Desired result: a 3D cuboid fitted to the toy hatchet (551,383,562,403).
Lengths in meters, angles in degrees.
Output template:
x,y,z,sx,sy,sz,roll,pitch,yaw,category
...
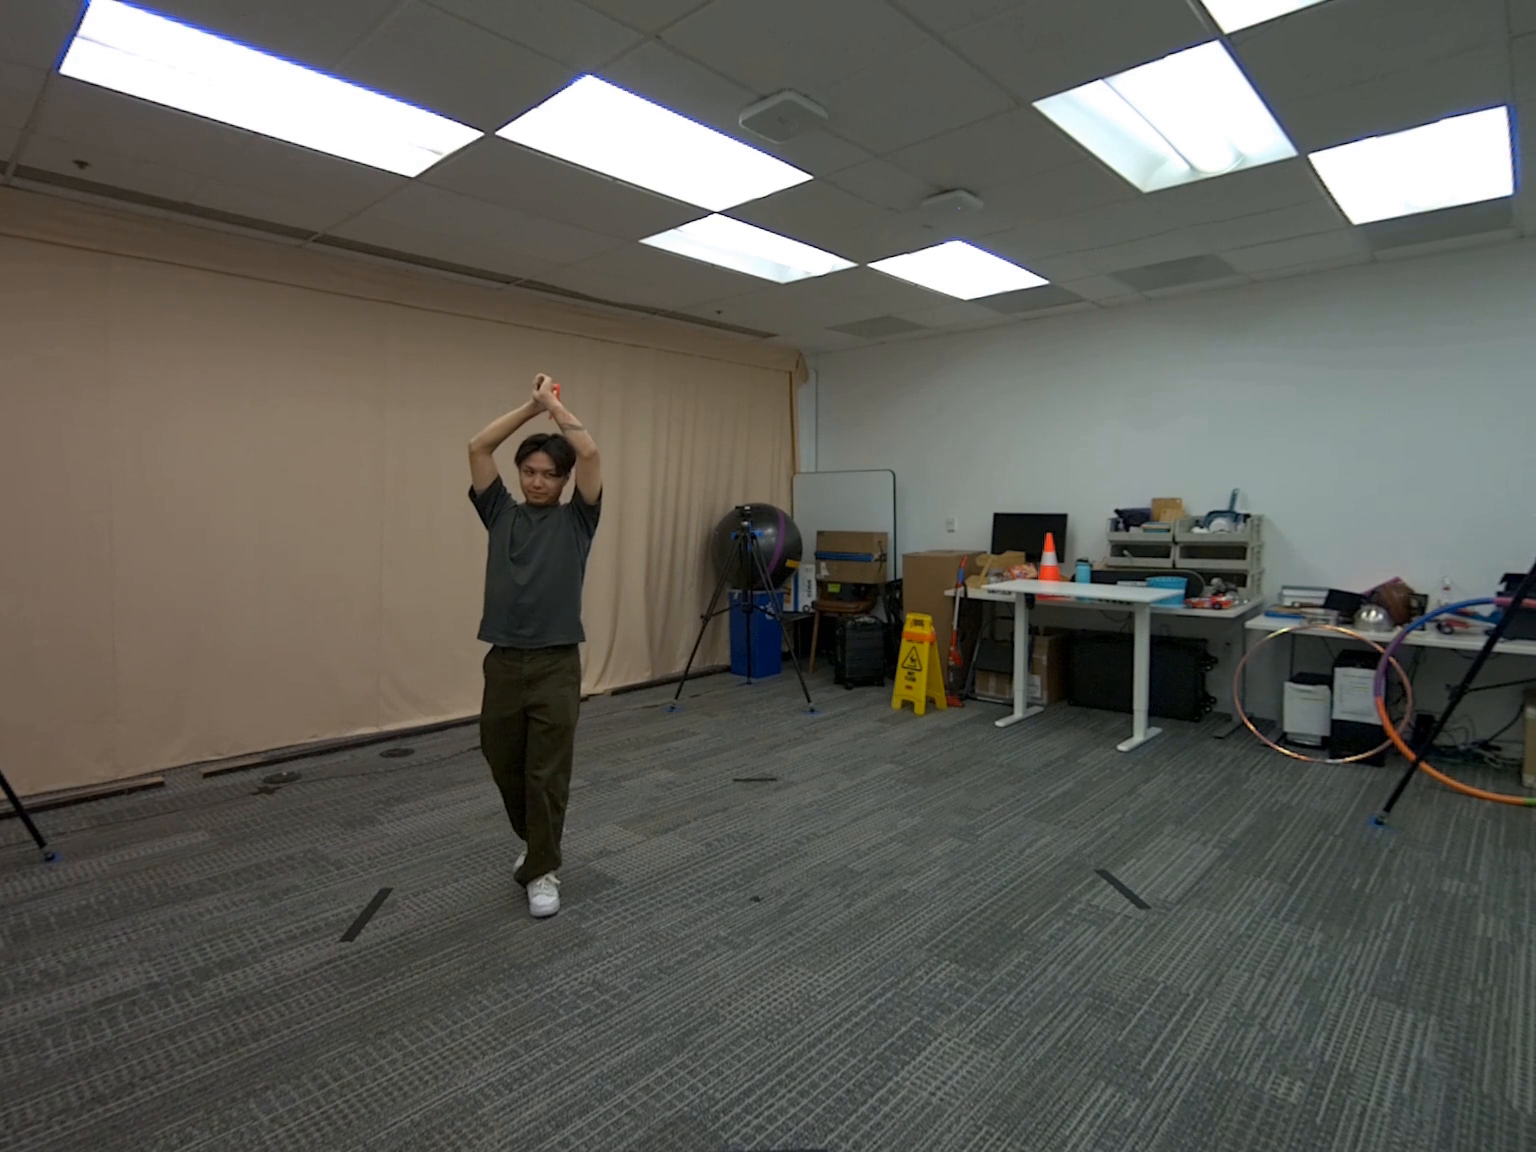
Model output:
x,y,z,sx,sy,sz,roll,pitch,yaw,category
-0.800,-0.675,3.038,0.030,0.132,0.267,11,-16,2,toy hatchet
